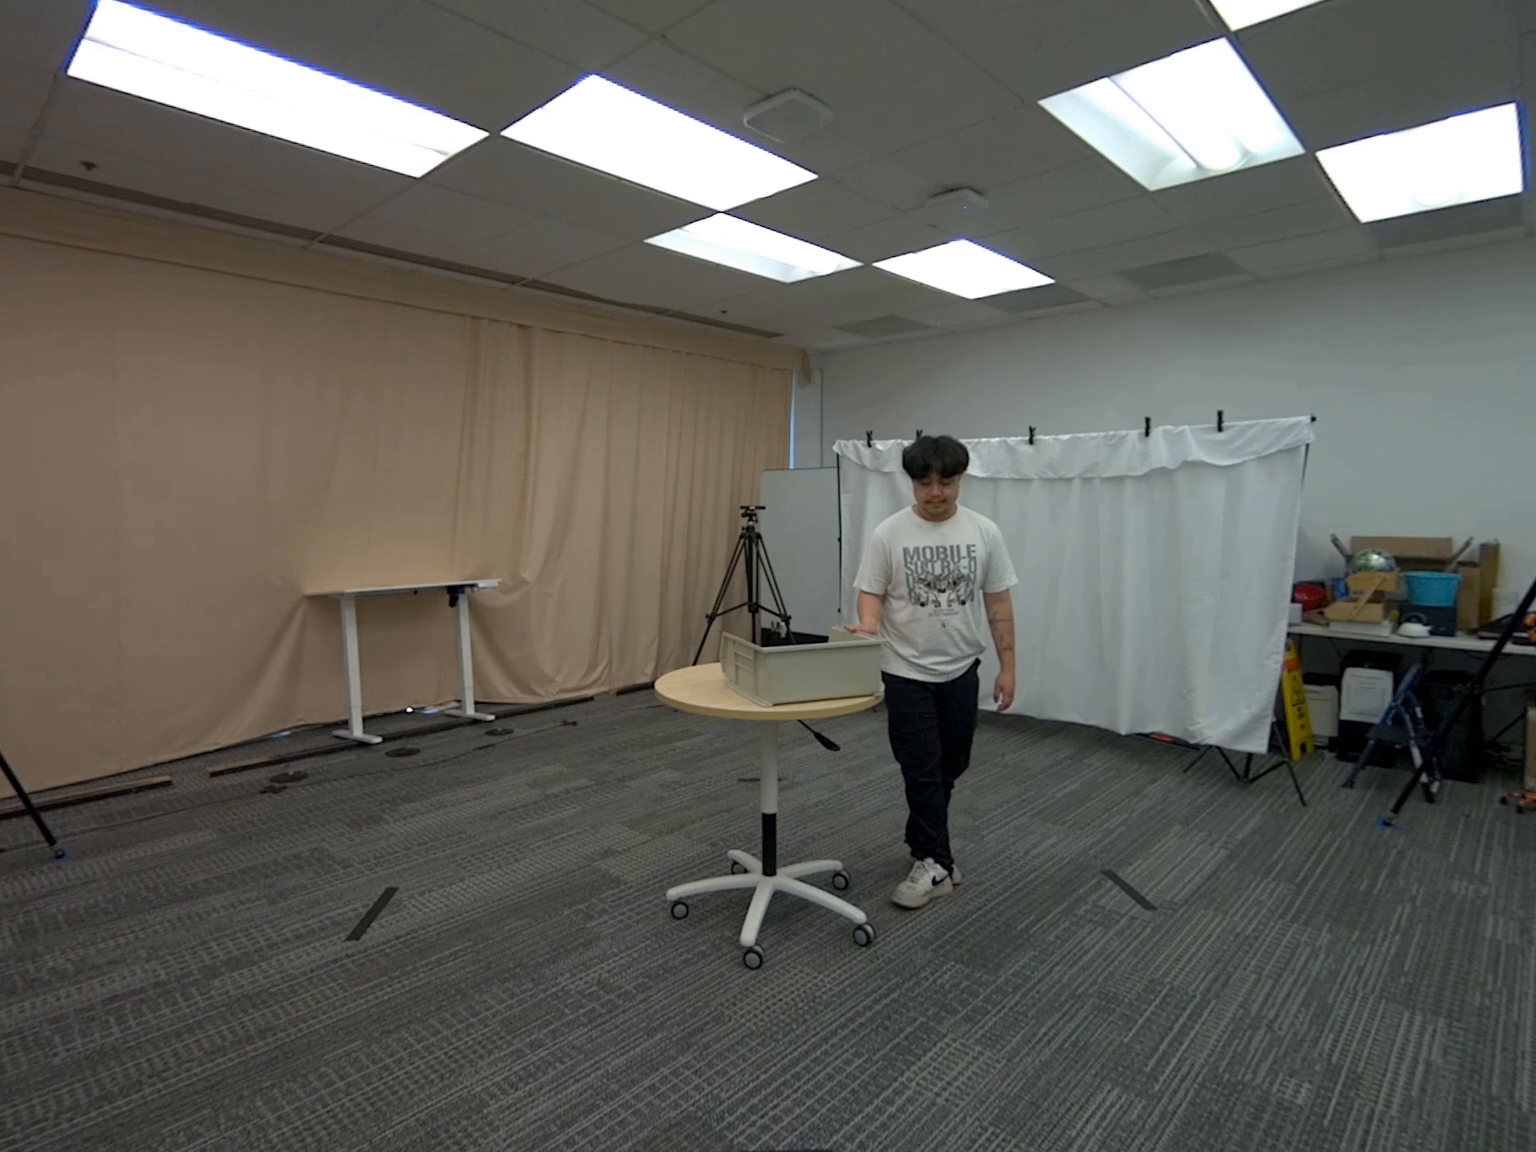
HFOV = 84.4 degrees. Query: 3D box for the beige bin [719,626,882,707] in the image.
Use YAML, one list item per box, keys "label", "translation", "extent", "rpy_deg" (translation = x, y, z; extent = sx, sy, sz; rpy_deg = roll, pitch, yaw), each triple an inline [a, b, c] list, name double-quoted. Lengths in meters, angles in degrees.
- label: "beige bin"
  translation: [0.106, 0.281, 2.716]
  extent: [0.414, 0.188, 0.386]
  rpy_deg: [-2, 6, -21]
